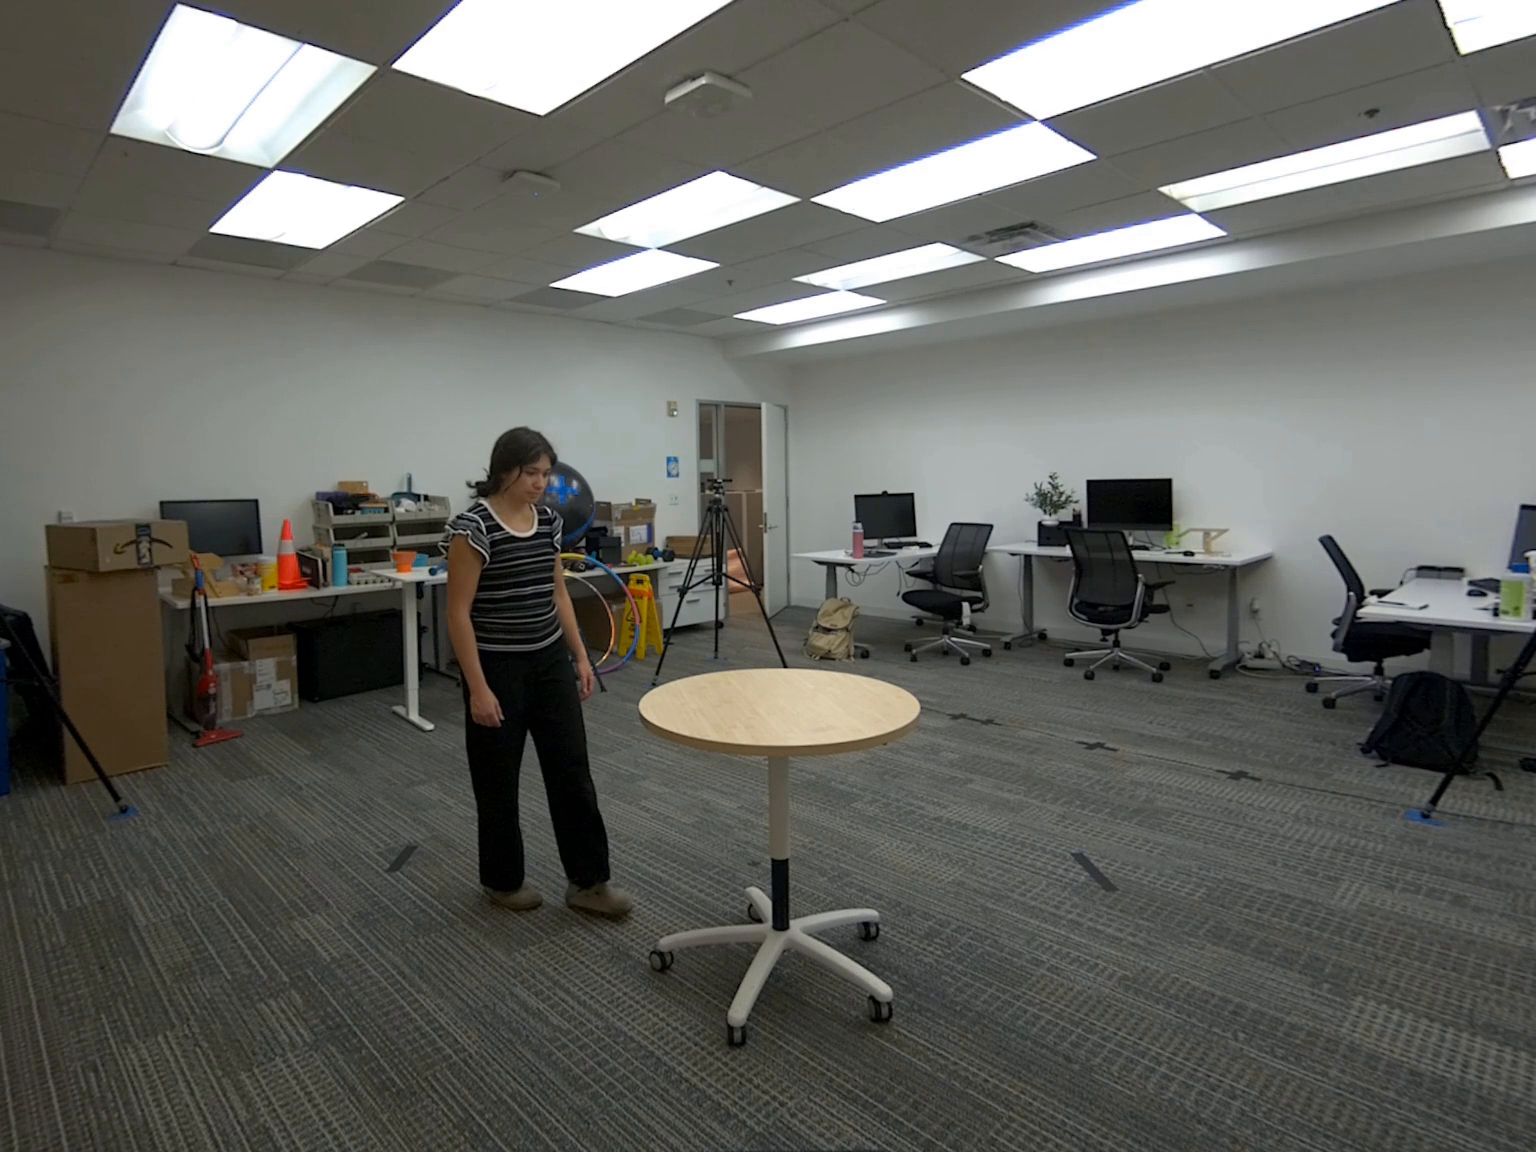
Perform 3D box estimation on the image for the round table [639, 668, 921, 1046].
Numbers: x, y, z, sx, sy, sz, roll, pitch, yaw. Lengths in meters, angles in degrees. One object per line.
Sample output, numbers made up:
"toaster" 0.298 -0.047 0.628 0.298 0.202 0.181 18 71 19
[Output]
"round table" 0.046 0.740 2.377 0.763 0.790 0.768 -1 6 -2
